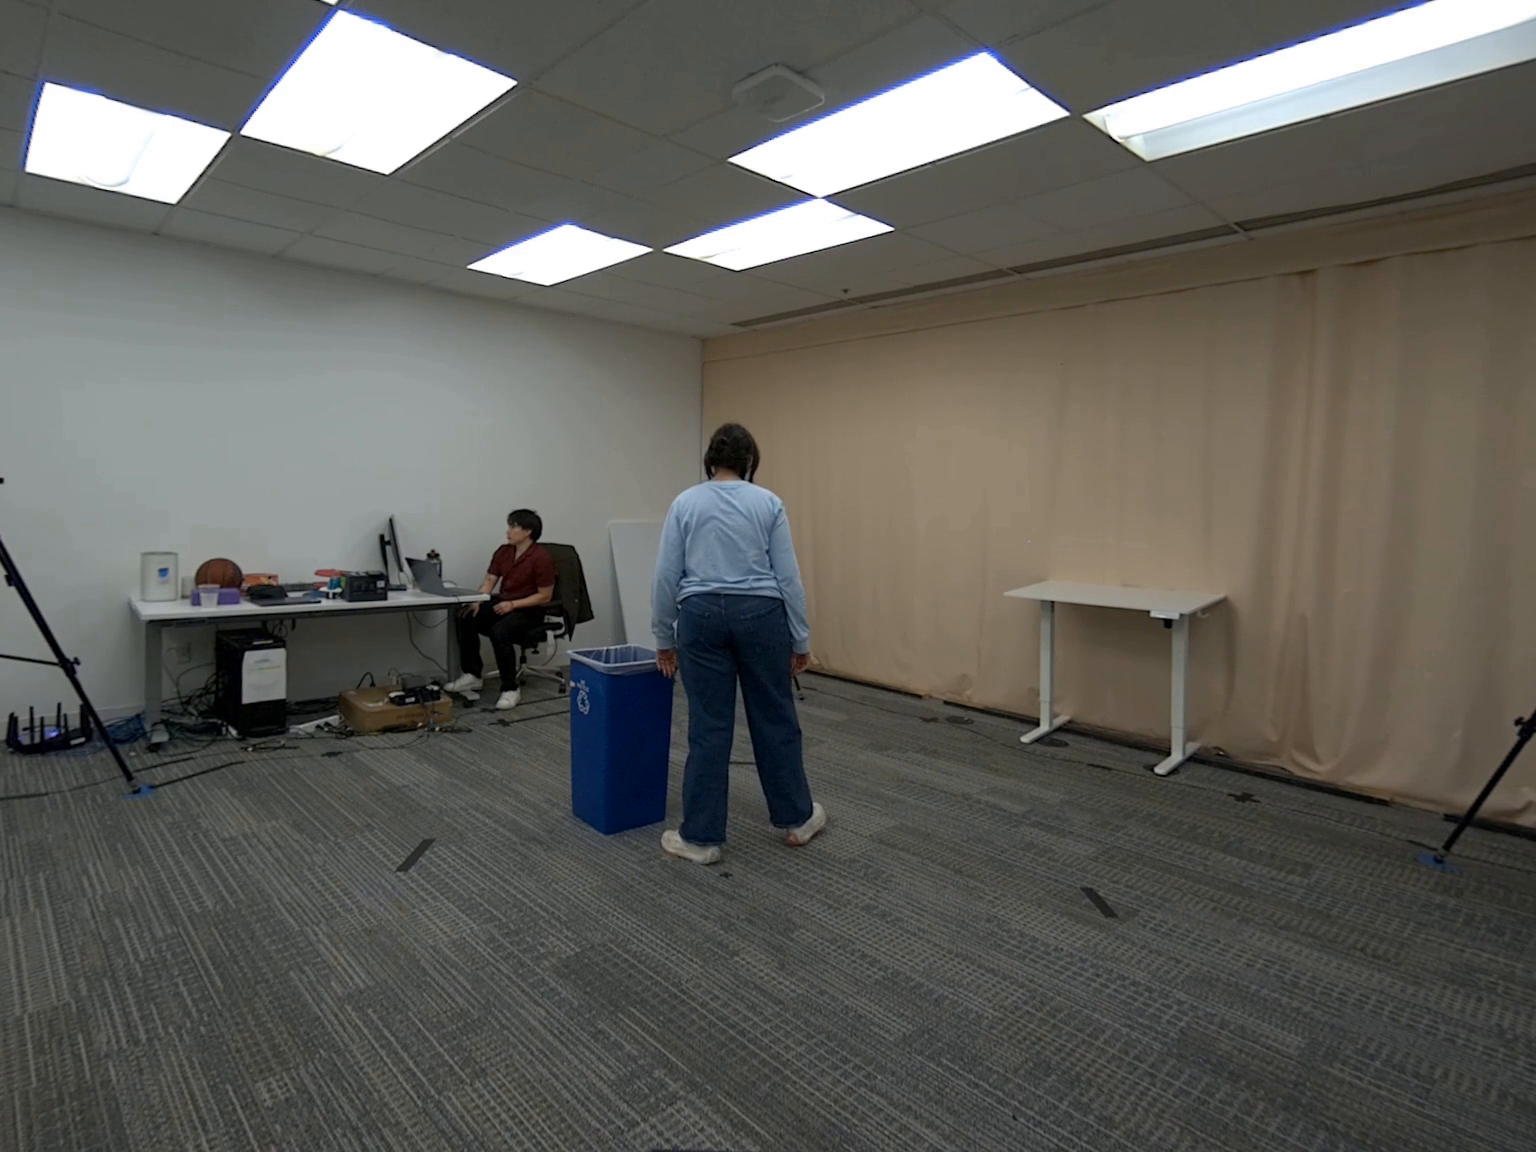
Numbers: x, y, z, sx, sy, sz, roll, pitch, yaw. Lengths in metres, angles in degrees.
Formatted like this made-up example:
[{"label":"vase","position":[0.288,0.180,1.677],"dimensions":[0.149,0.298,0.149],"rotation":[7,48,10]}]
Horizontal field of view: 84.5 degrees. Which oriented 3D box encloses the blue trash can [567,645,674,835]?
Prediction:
[{"label":"blue trash can","position":[-0.641,0.689,3.630],"dimensions":[0.369,0.712,0.383],"rotation":[-2,5,-39]}]
